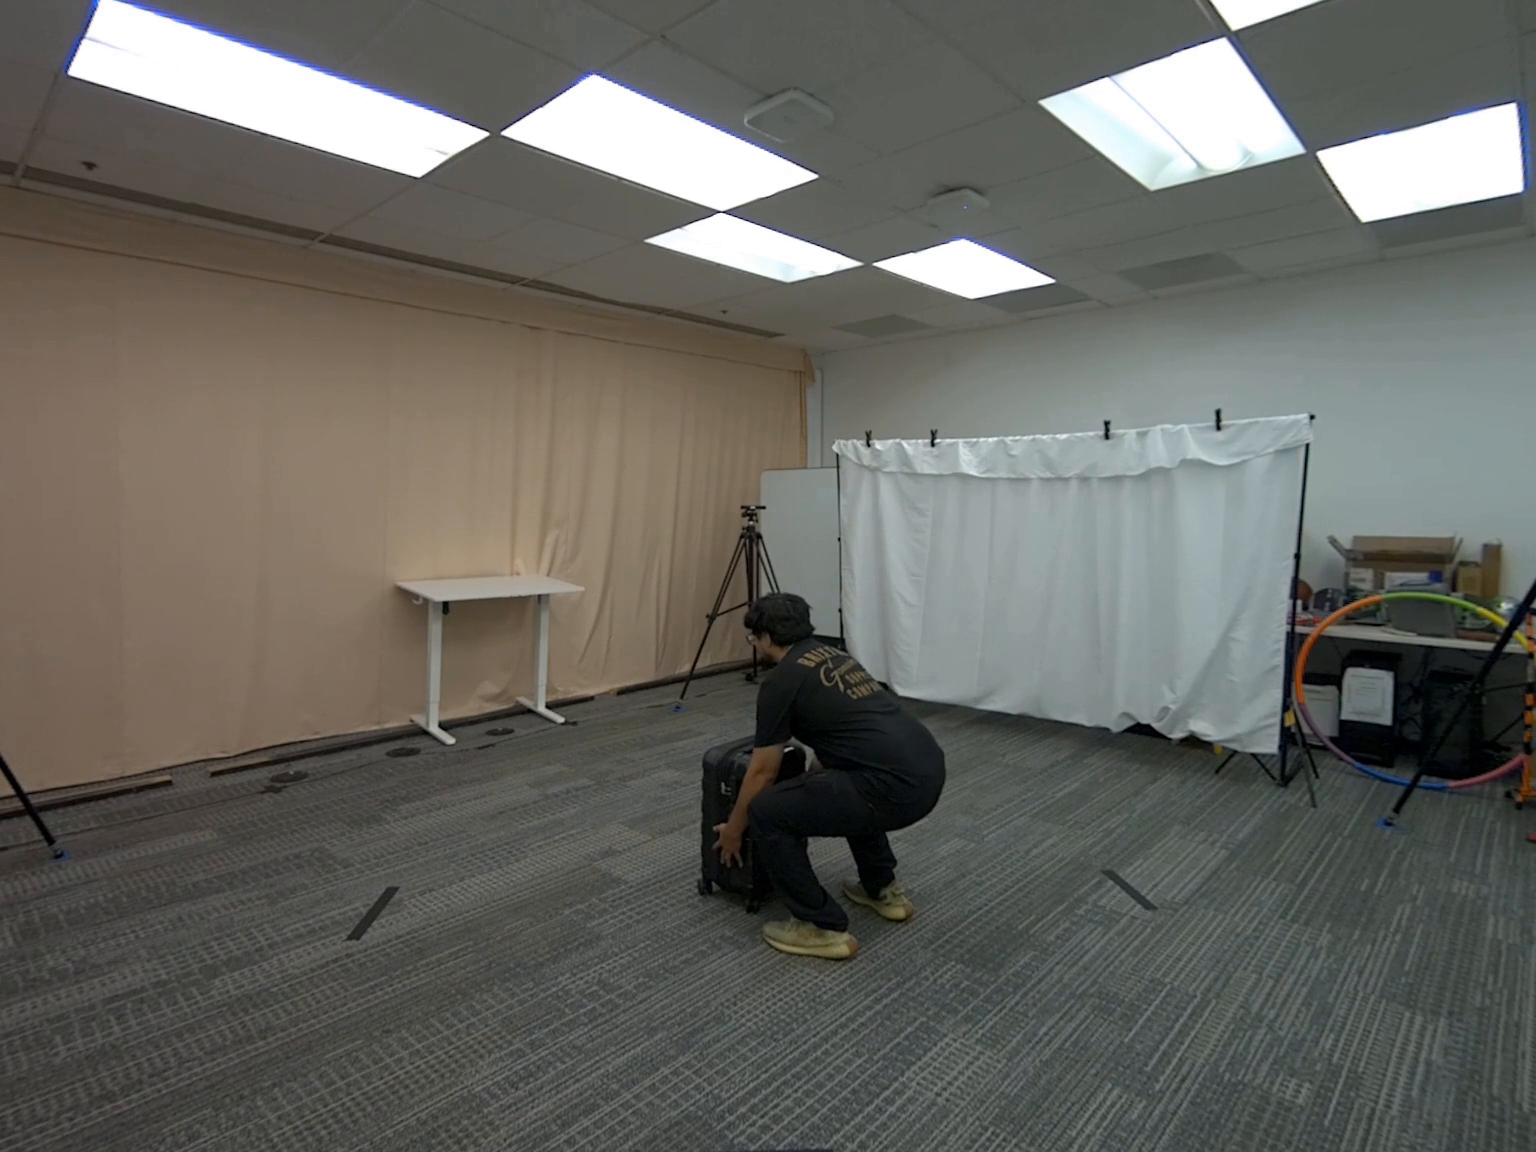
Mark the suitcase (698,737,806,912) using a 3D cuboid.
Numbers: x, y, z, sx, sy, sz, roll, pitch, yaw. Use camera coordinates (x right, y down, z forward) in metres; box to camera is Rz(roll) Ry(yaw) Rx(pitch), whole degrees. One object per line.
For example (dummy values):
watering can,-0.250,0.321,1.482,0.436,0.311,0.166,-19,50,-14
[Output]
suitcase,-0.049,0.864,3.031,0.256,0.548,0.364,4,6,40
